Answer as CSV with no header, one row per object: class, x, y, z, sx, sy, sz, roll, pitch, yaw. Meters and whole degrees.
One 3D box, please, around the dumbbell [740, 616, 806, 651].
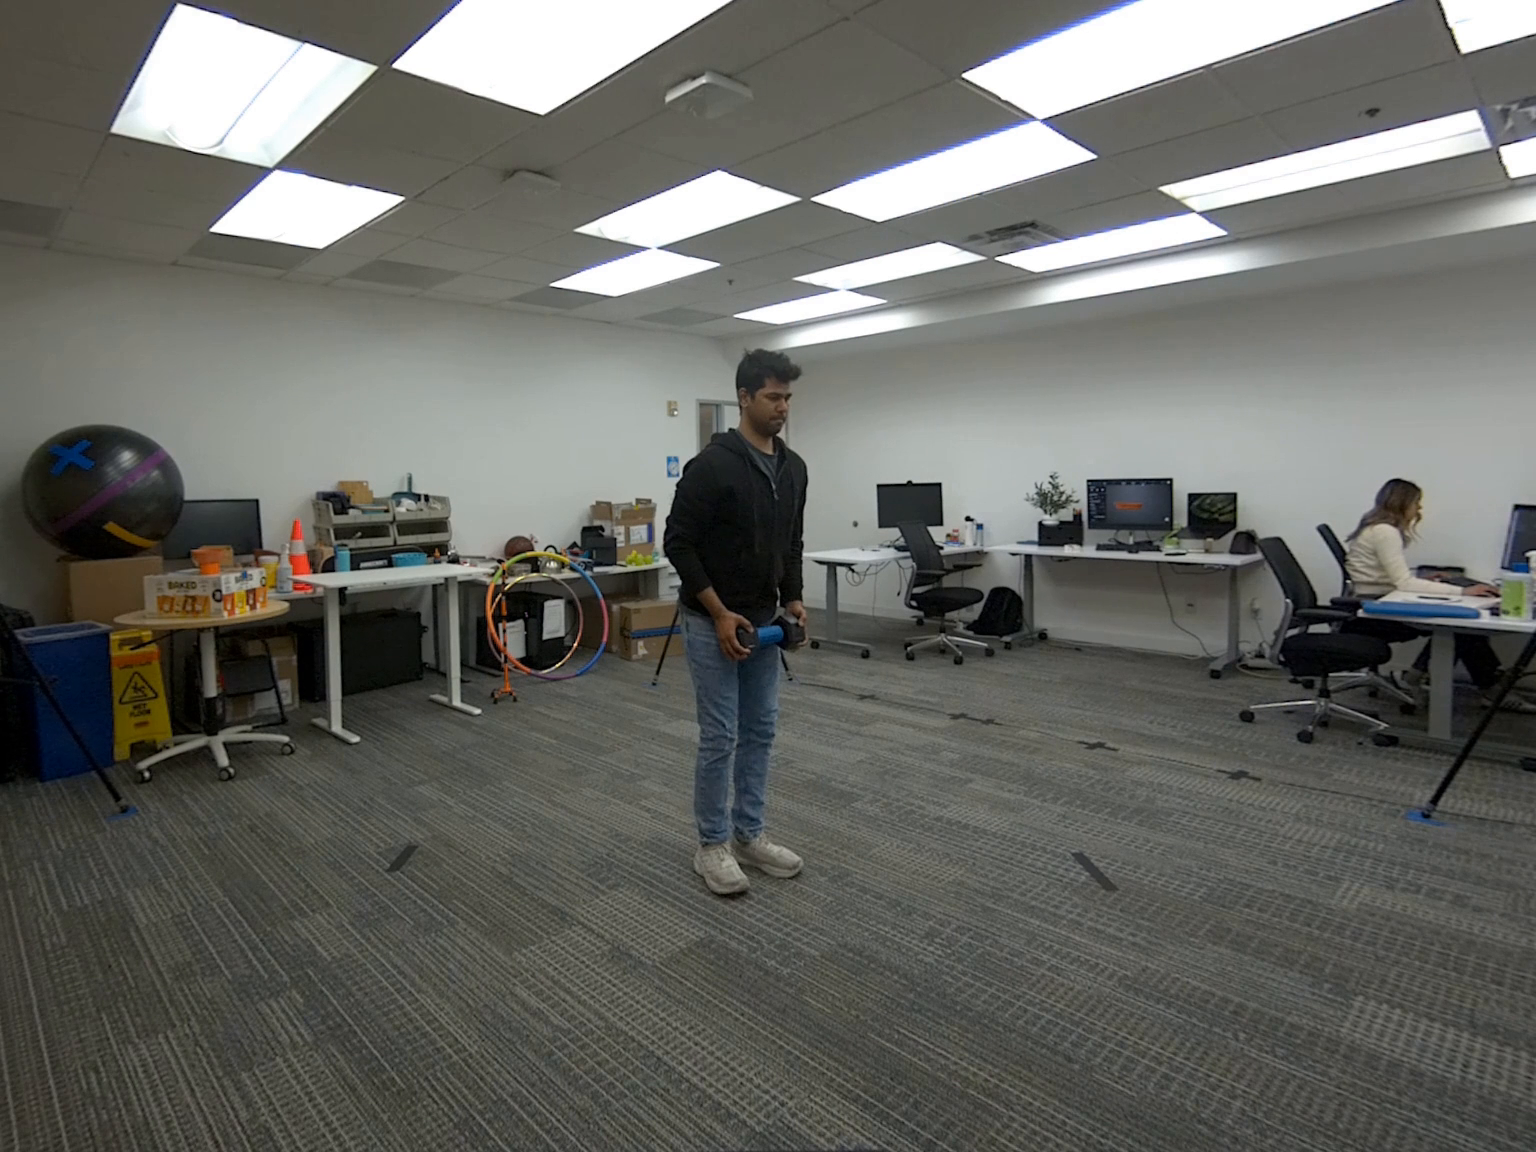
dumbbell,-0.020,0.208,2.900,0.286,0.112,0.122,-6,-32,-39
